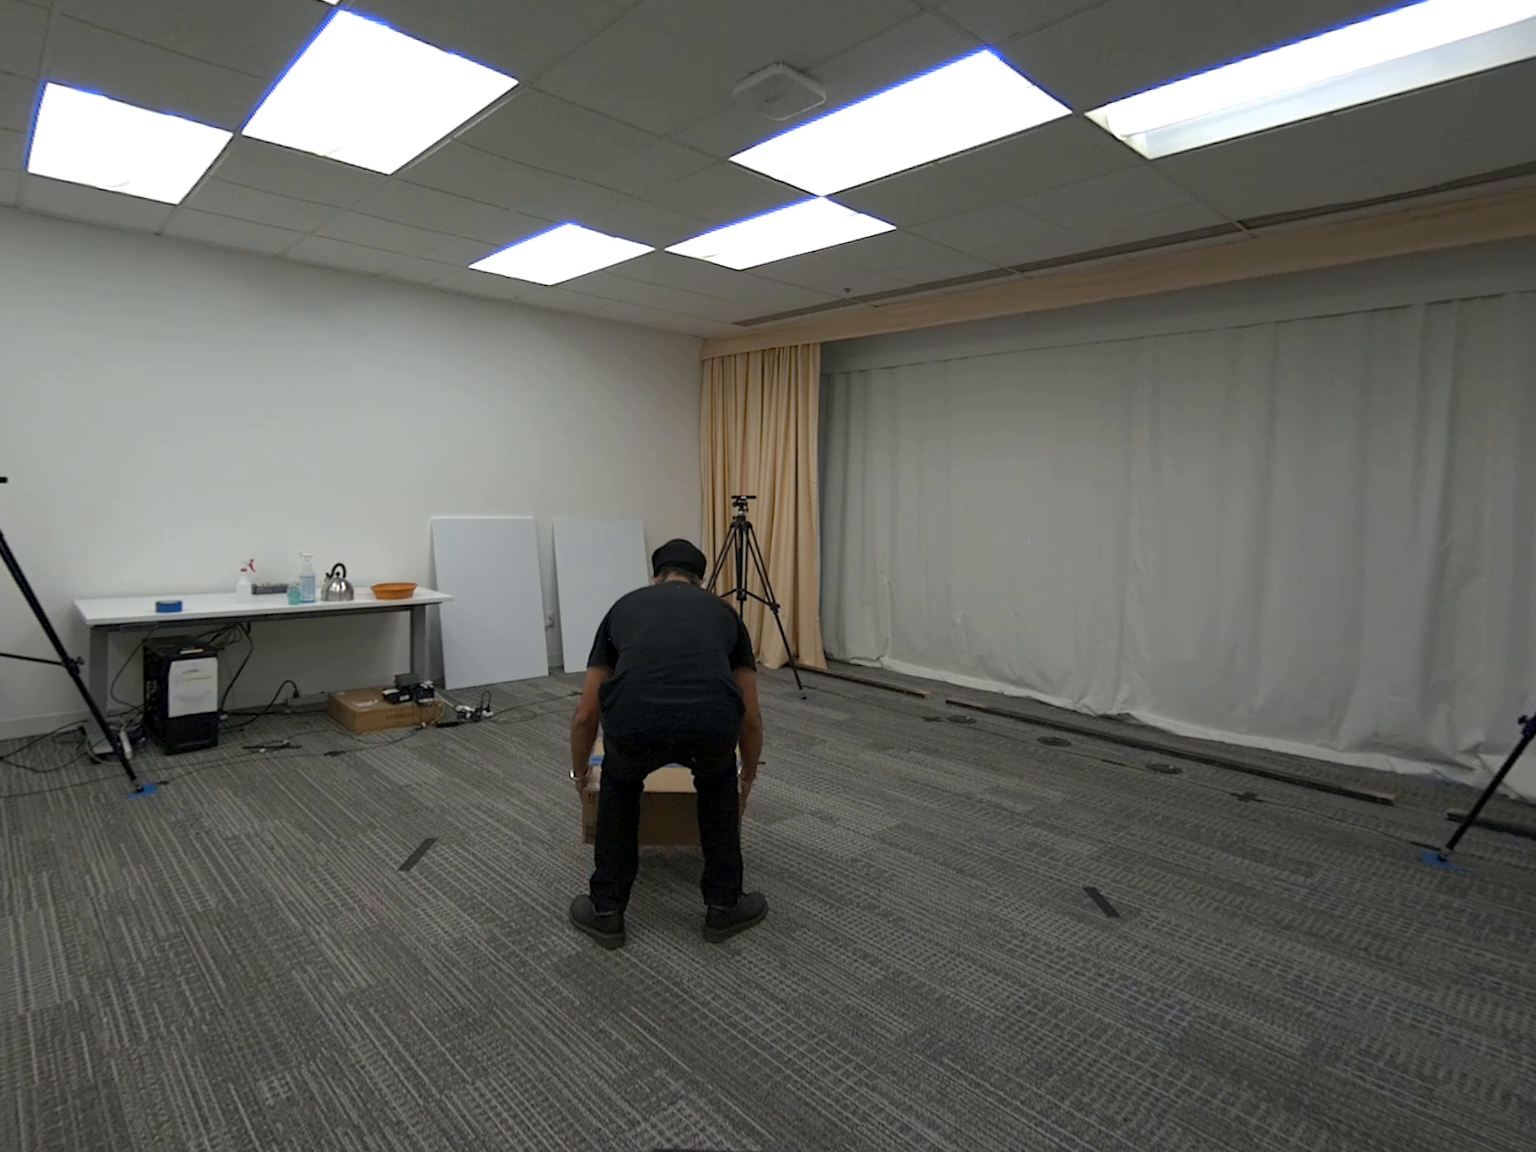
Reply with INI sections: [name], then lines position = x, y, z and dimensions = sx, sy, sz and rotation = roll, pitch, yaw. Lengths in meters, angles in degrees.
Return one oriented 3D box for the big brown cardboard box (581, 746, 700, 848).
[big brown cardboard box]
position = -0.396, 0.803, 3.167
dimensions = 0.587, 0.231, 0.422
rotation = 3, 12, -4
